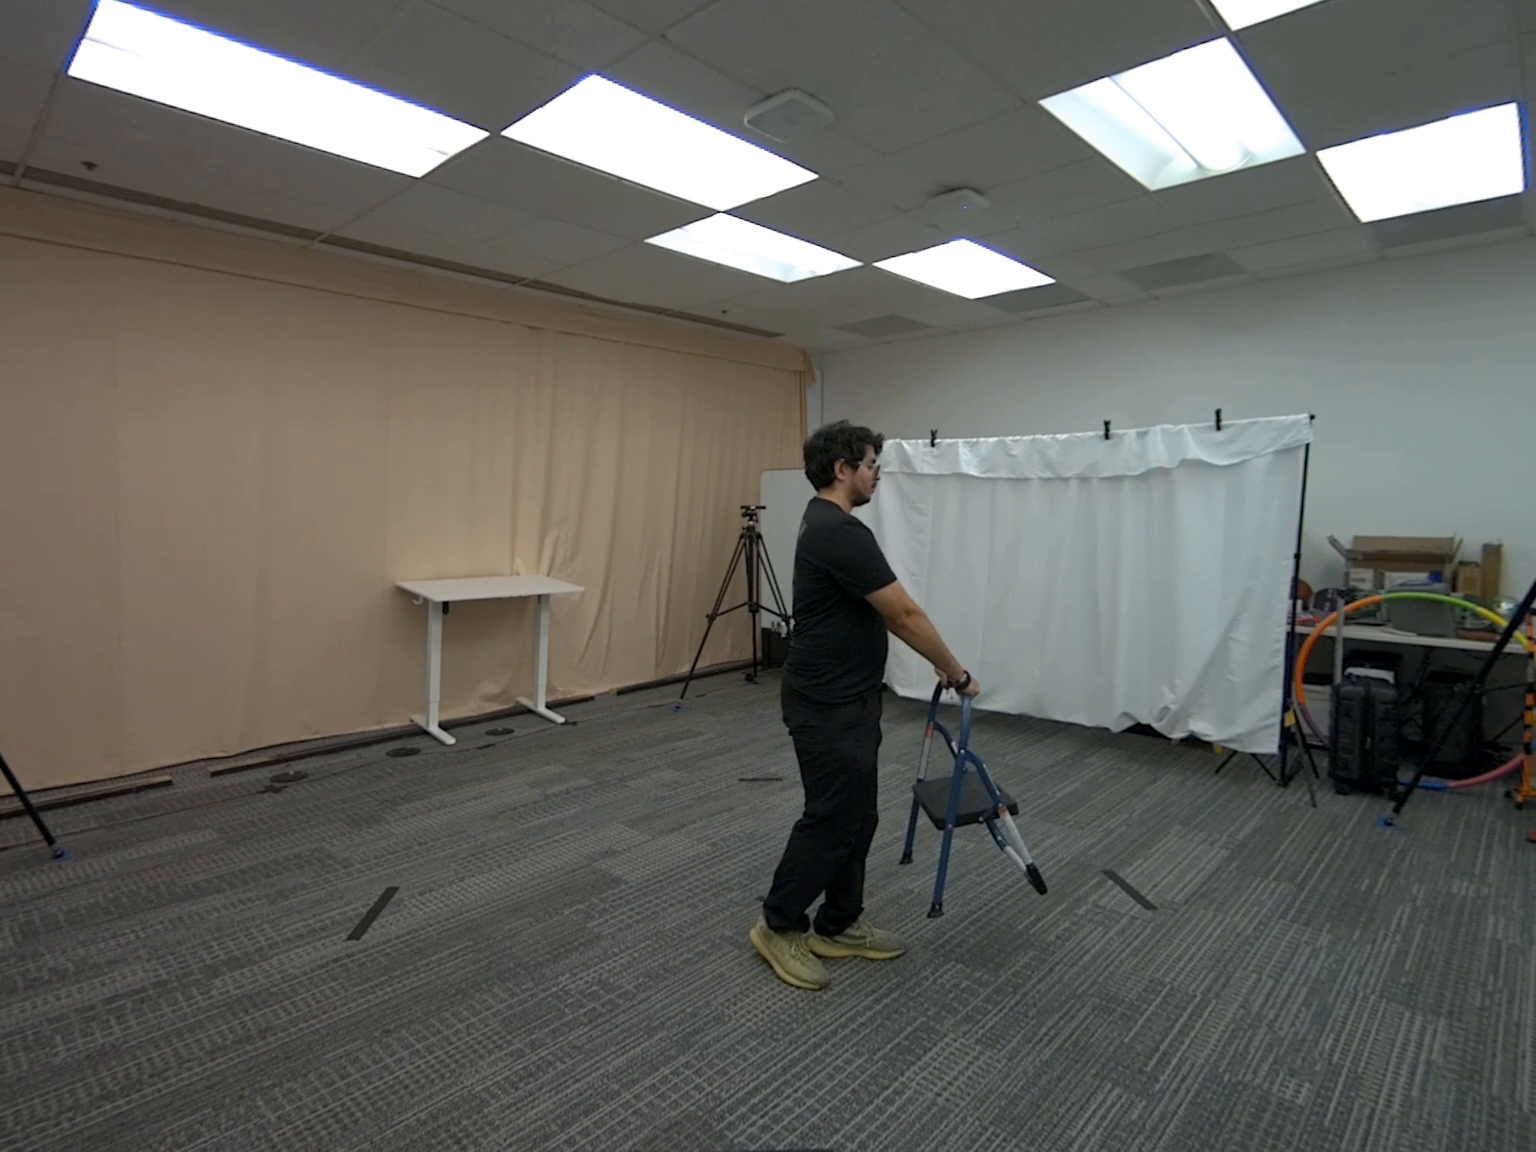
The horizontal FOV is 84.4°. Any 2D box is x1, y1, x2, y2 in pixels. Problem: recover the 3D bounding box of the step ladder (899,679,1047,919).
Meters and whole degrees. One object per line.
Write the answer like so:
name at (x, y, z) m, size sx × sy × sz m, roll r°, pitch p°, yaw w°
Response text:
step ladder at (0.562, 0.641, 2.574) m, size 0.349 × 0.605 × 0.431 m, roll -11°, pitch 2°, yaw 0°
